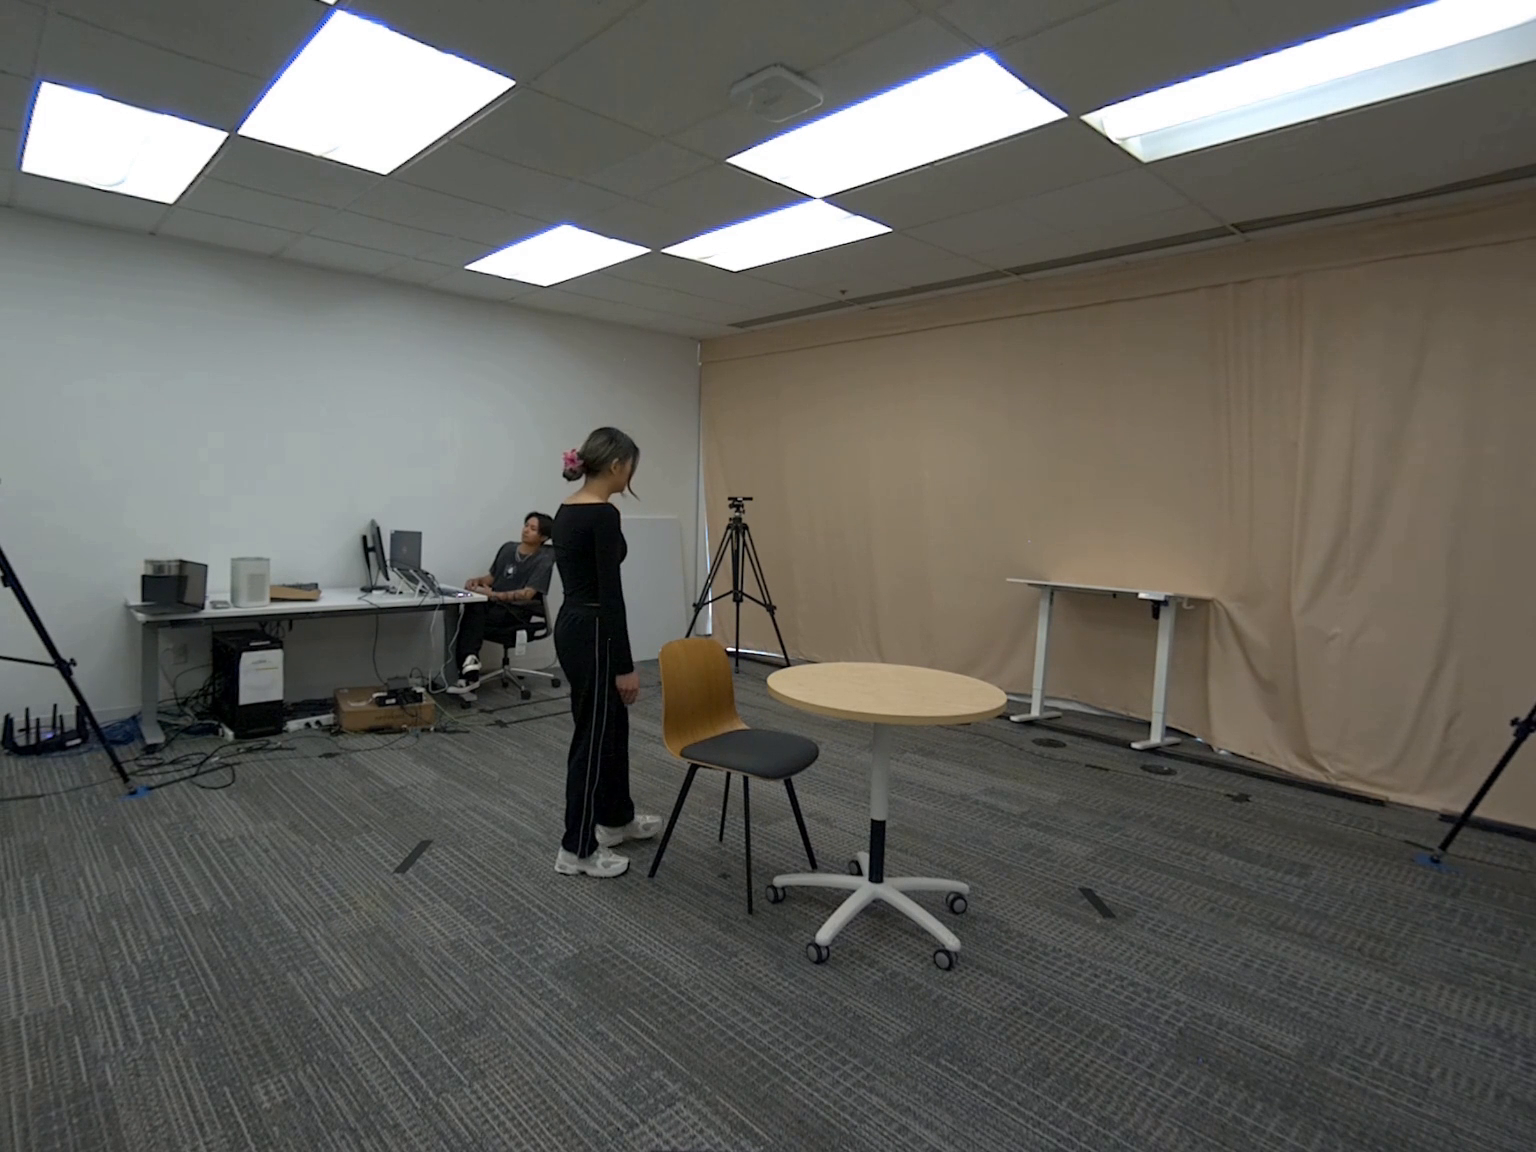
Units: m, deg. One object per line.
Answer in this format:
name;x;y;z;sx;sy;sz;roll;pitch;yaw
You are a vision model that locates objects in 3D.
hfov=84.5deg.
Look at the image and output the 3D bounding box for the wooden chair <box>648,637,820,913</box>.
wooden chair;-0.115;0.678;3.096;0.534;0.877;0.468;-1;1;35
